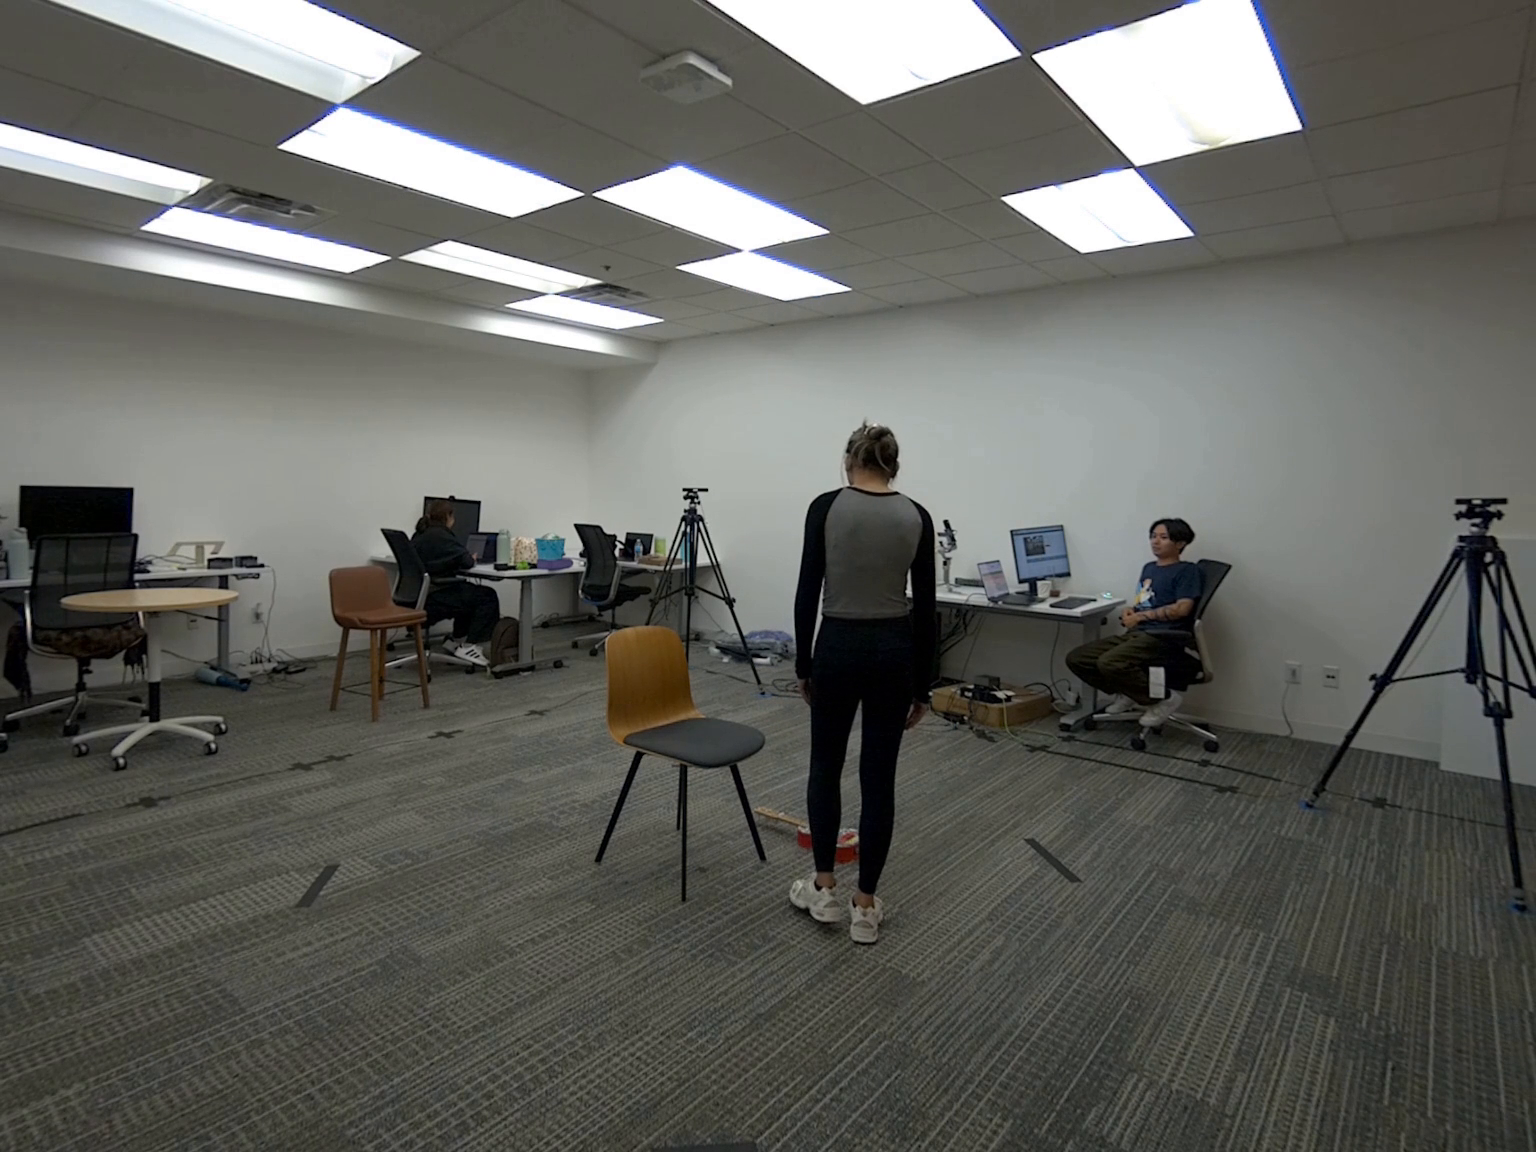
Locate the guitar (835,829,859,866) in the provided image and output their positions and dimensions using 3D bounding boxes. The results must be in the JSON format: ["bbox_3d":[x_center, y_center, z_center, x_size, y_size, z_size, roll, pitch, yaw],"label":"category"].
[{"bbox_3d":[0.163,1.011,3.411,0.187,0.070,0.515,-4,8,-43],"label":"guitar"}]
